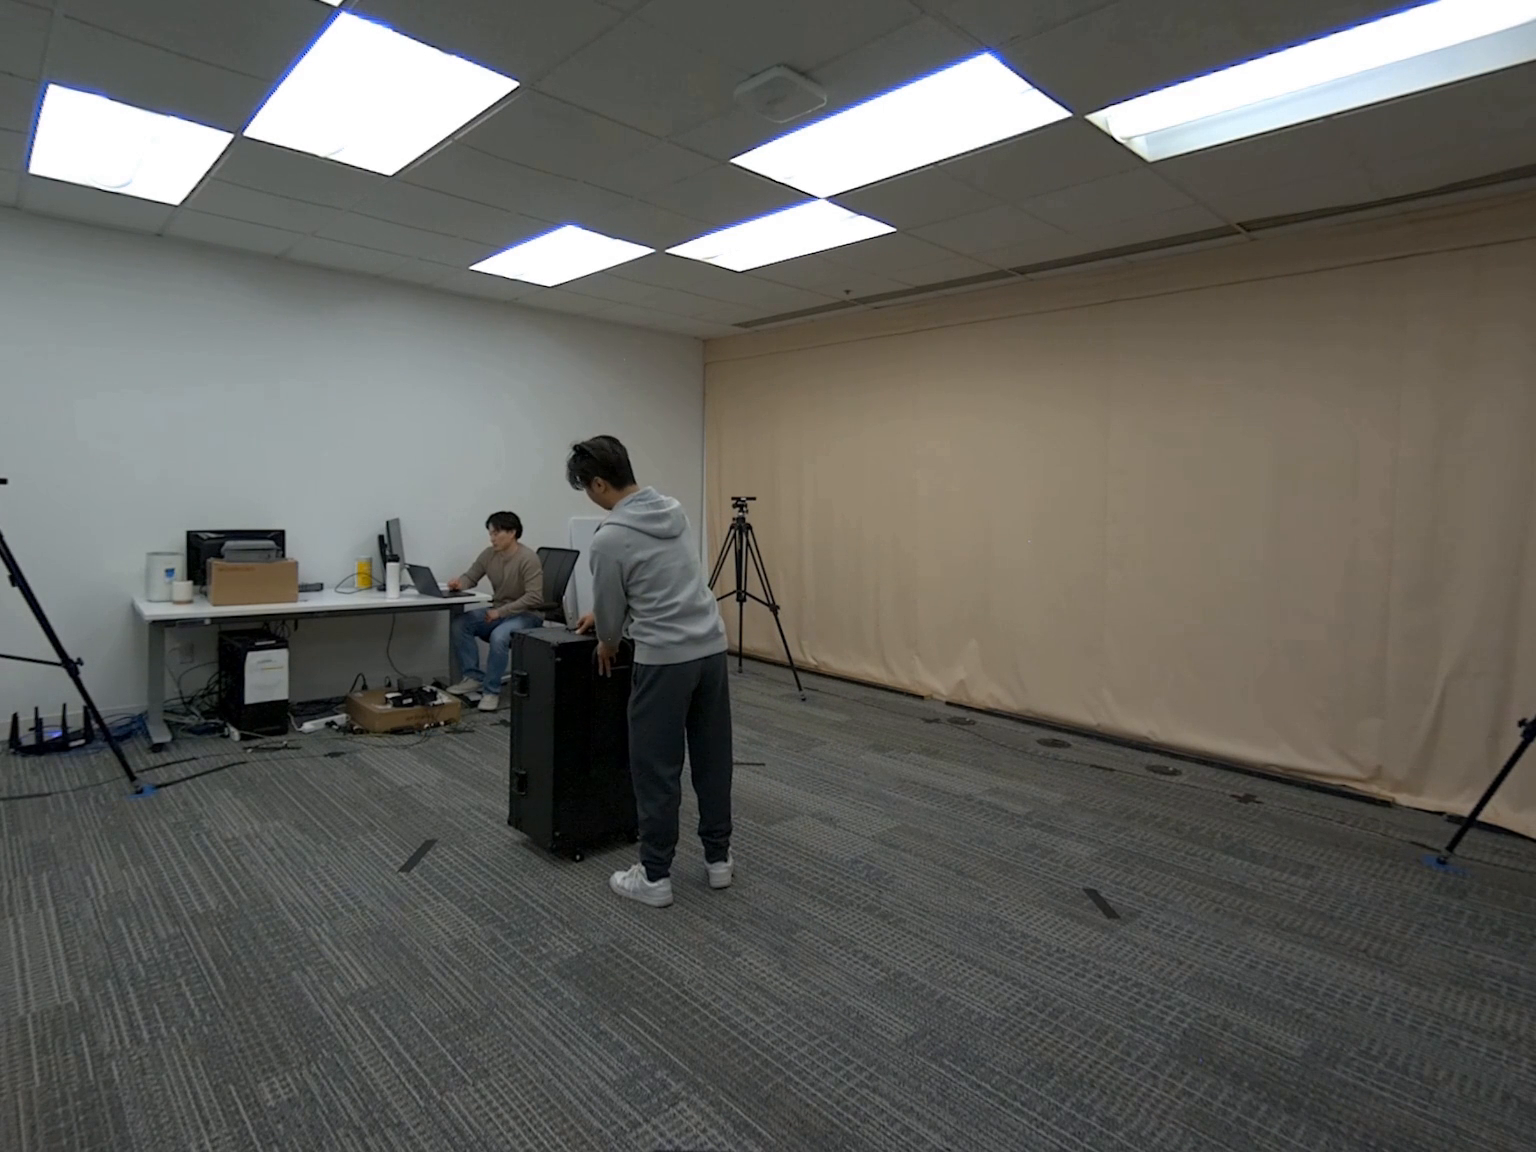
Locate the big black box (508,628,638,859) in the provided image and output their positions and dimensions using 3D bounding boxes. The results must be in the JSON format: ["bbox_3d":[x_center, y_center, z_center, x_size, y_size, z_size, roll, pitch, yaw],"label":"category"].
[{"bbox_3d":[-0.728,0.646,3.367,0.509,0.859,0.406,-1,5,-43],"label":"big black box"}]
